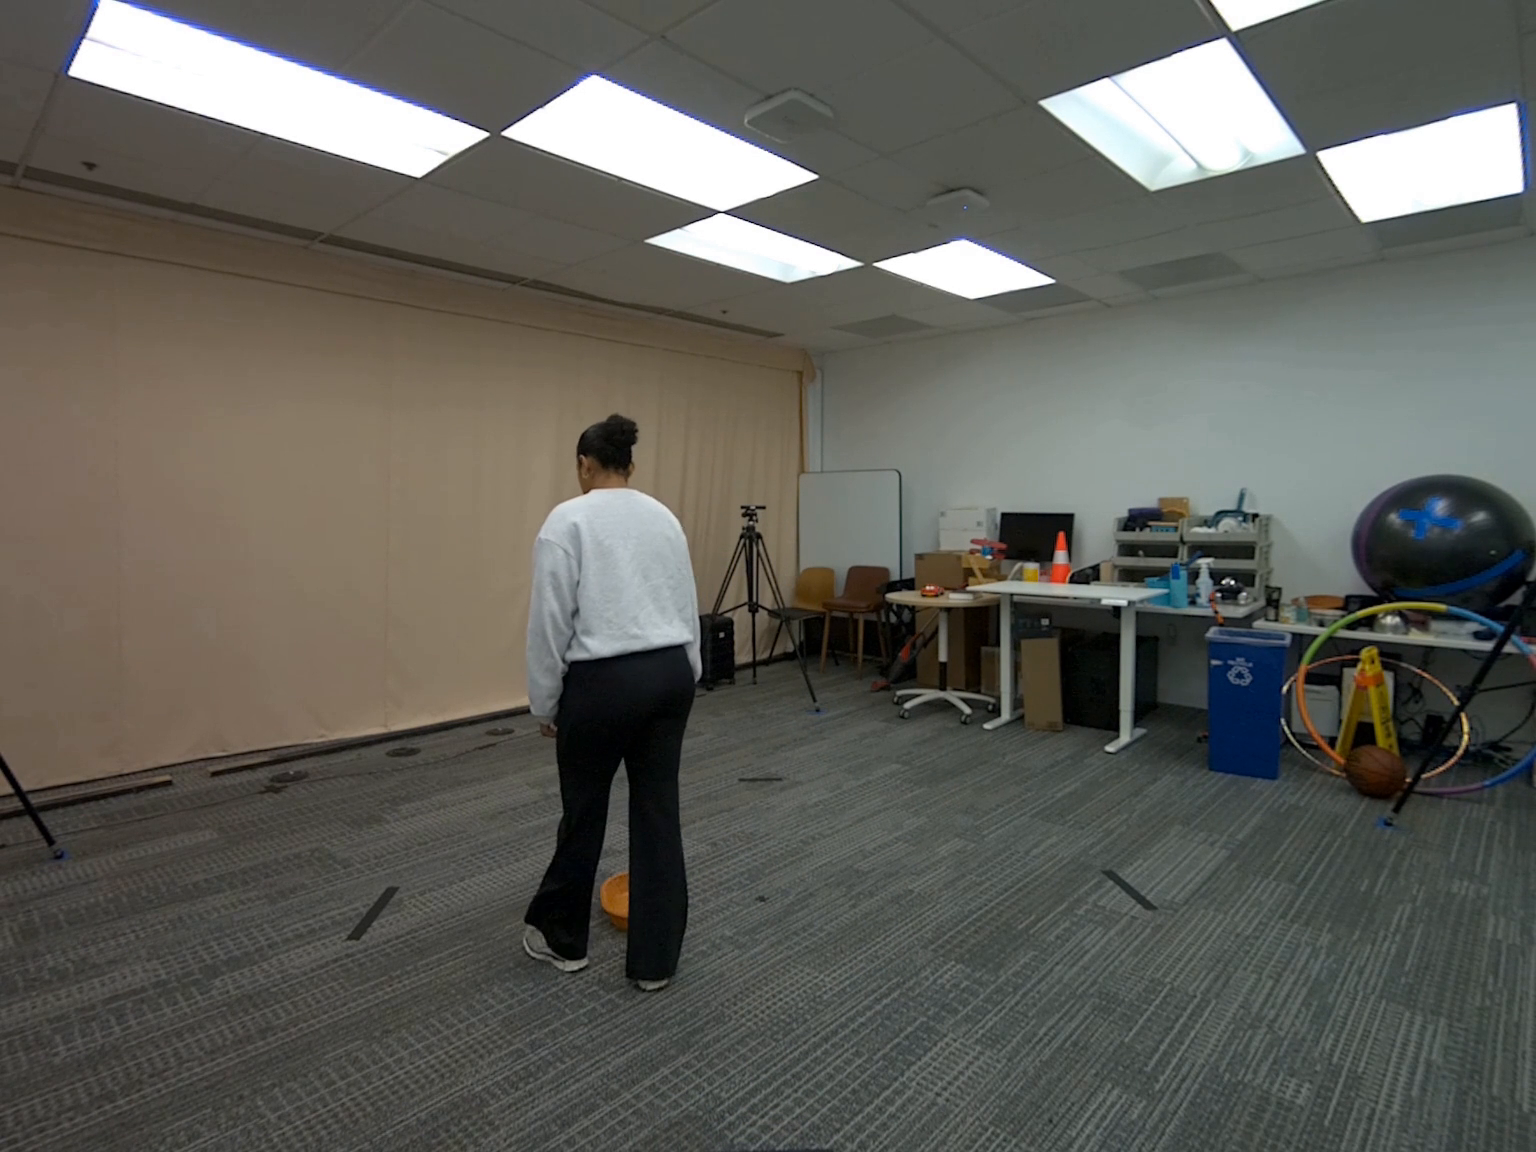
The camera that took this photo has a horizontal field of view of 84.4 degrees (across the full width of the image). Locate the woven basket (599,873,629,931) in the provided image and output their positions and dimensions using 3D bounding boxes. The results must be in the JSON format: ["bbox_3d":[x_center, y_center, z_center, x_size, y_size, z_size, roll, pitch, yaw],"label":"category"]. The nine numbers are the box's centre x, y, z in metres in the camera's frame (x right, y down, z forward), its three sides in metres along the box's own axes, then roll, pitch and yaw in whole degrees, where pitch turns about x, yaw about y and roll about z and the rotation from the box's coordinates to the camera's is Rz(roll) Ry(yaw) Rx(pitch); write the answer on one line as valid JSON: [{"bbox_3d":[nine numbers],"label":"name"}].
[{"bbox_3d":[-0.443,1.114,2.891,0.250,0.073,0.355,-1,5,-10],"label":"woven basket"}]
